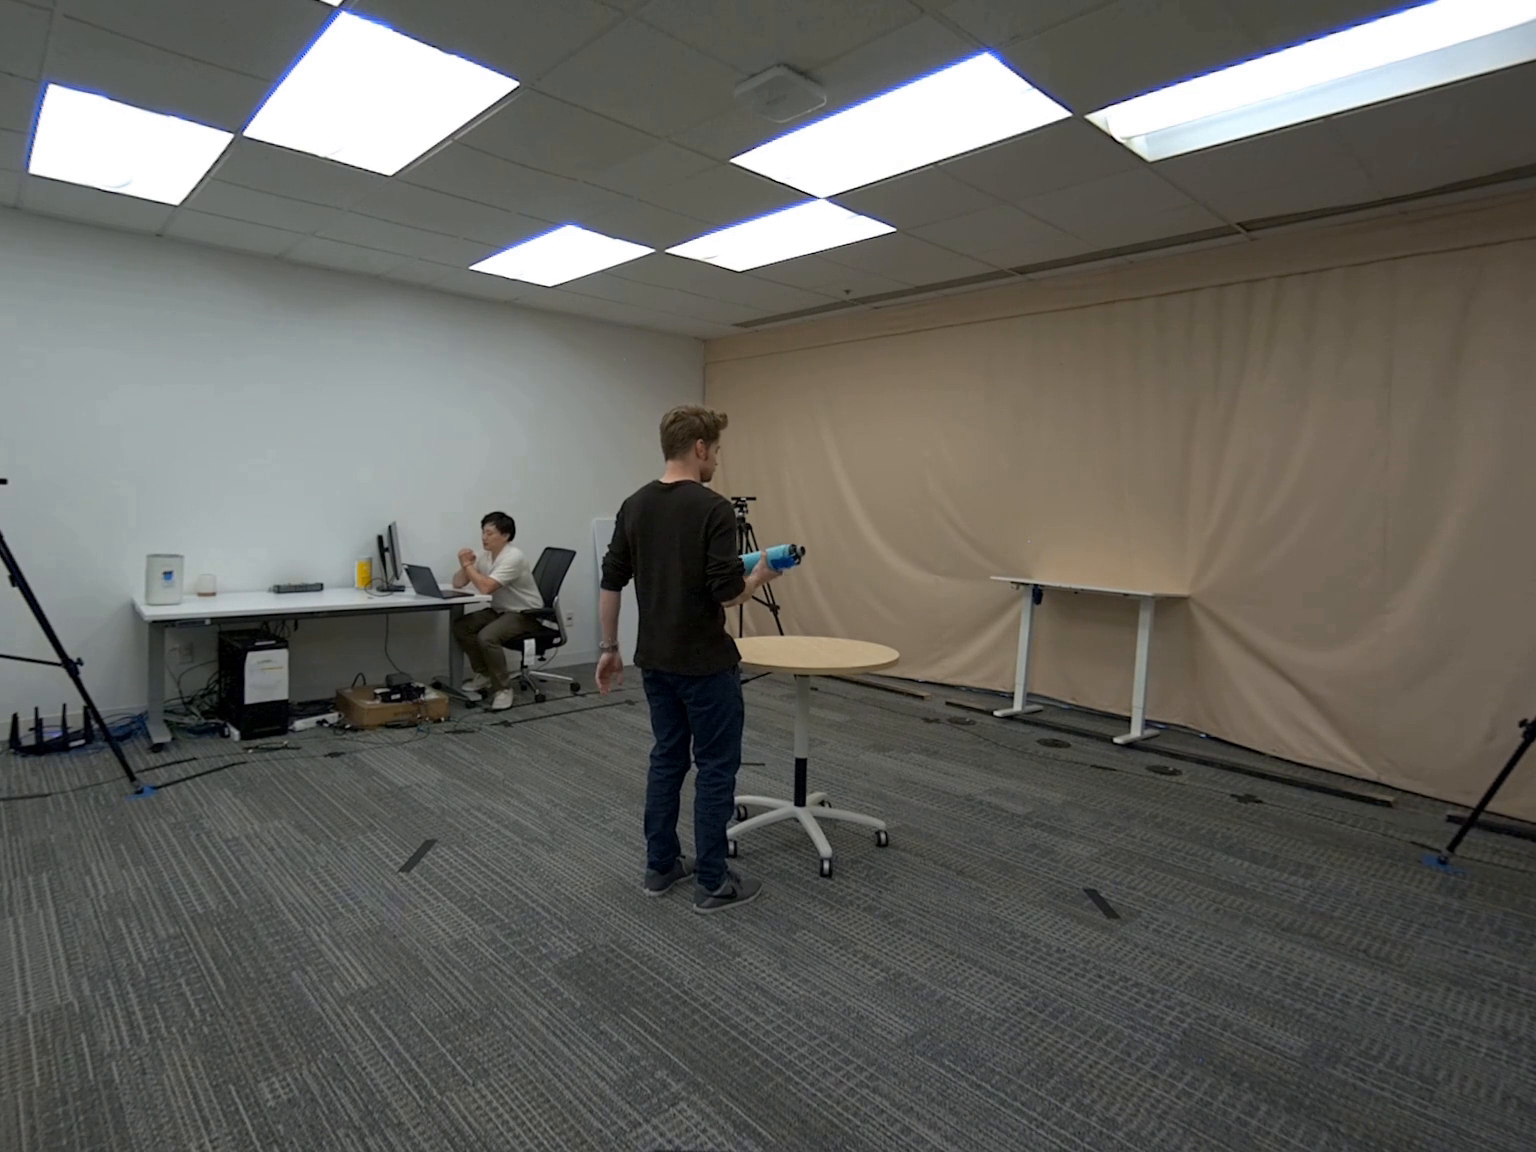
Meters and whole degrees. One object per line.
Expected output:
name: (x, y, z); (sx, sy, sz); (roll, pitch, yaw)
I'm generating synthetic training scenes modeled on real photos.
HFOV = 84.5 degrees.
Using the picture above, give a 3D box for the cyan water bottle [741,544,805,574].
cyan water bottle: (-0.002, -0.059, 3.054); (0.288, 0.093, 0.090); (-11, -5, 38)
